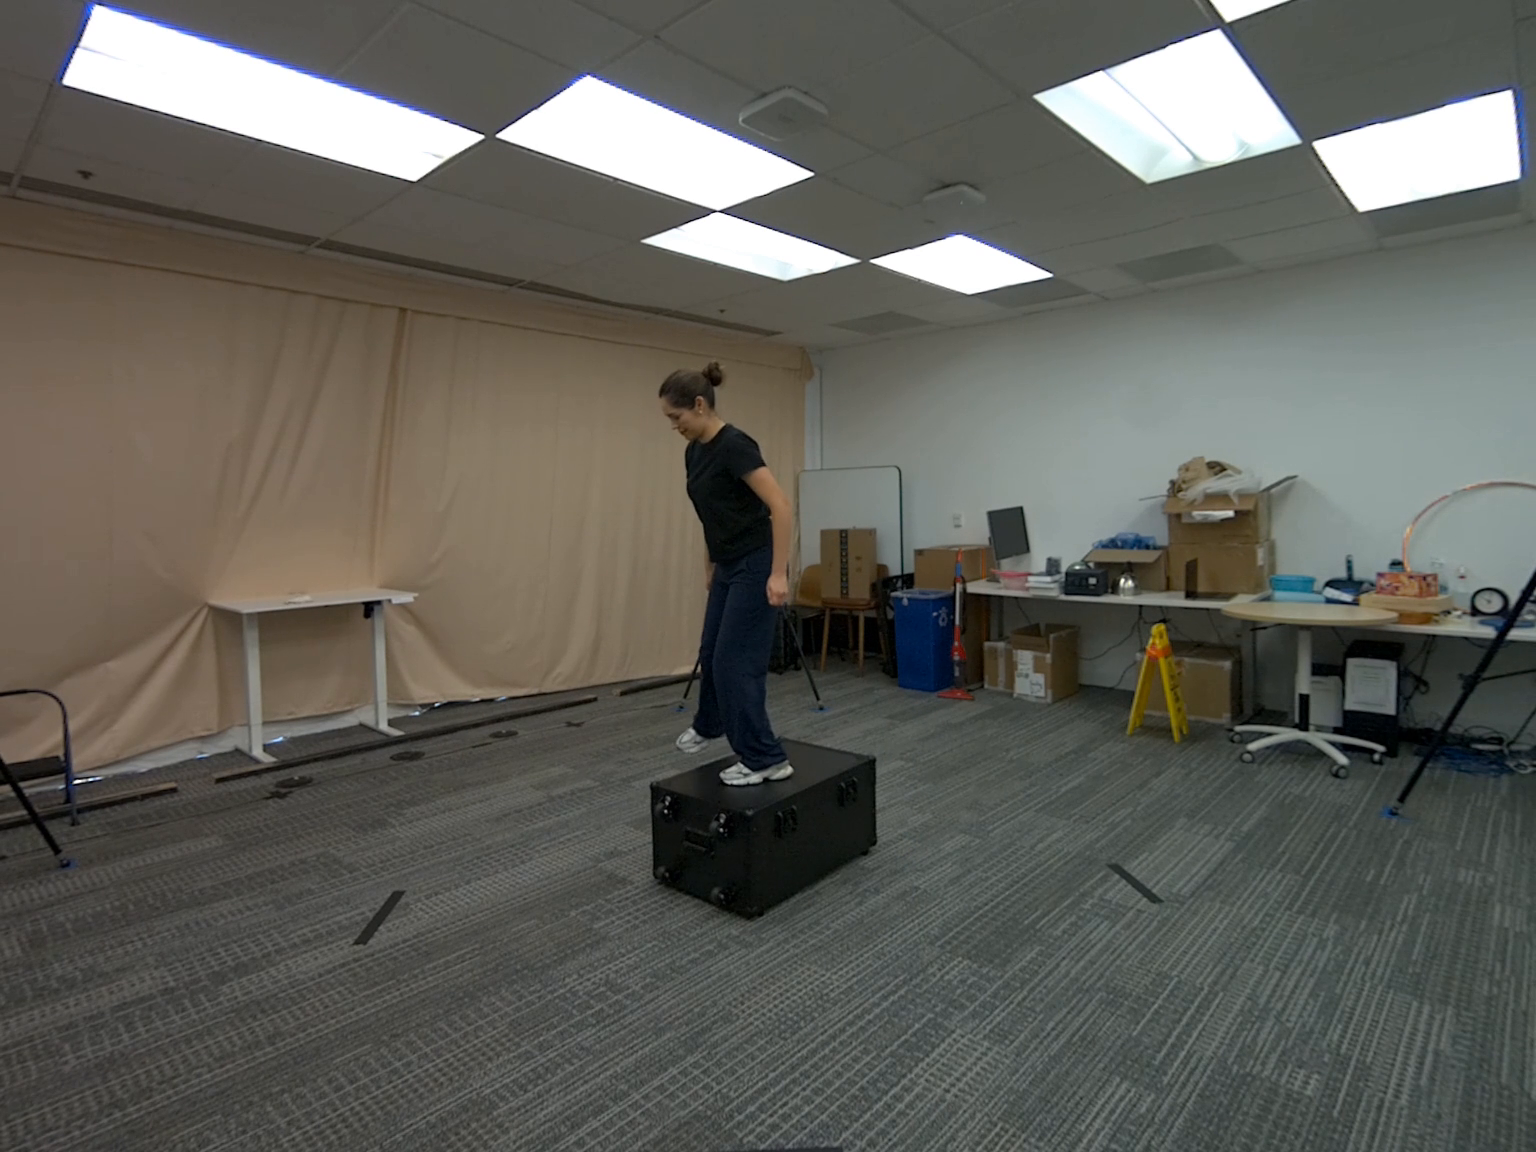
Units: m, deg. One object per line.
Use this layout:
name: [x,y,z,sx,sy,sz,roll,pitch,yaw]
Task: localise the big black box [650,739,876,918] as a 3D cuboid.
big black box: [-0.006,0.931,3.212,0.538,0.395,0.836,2,5,40]
